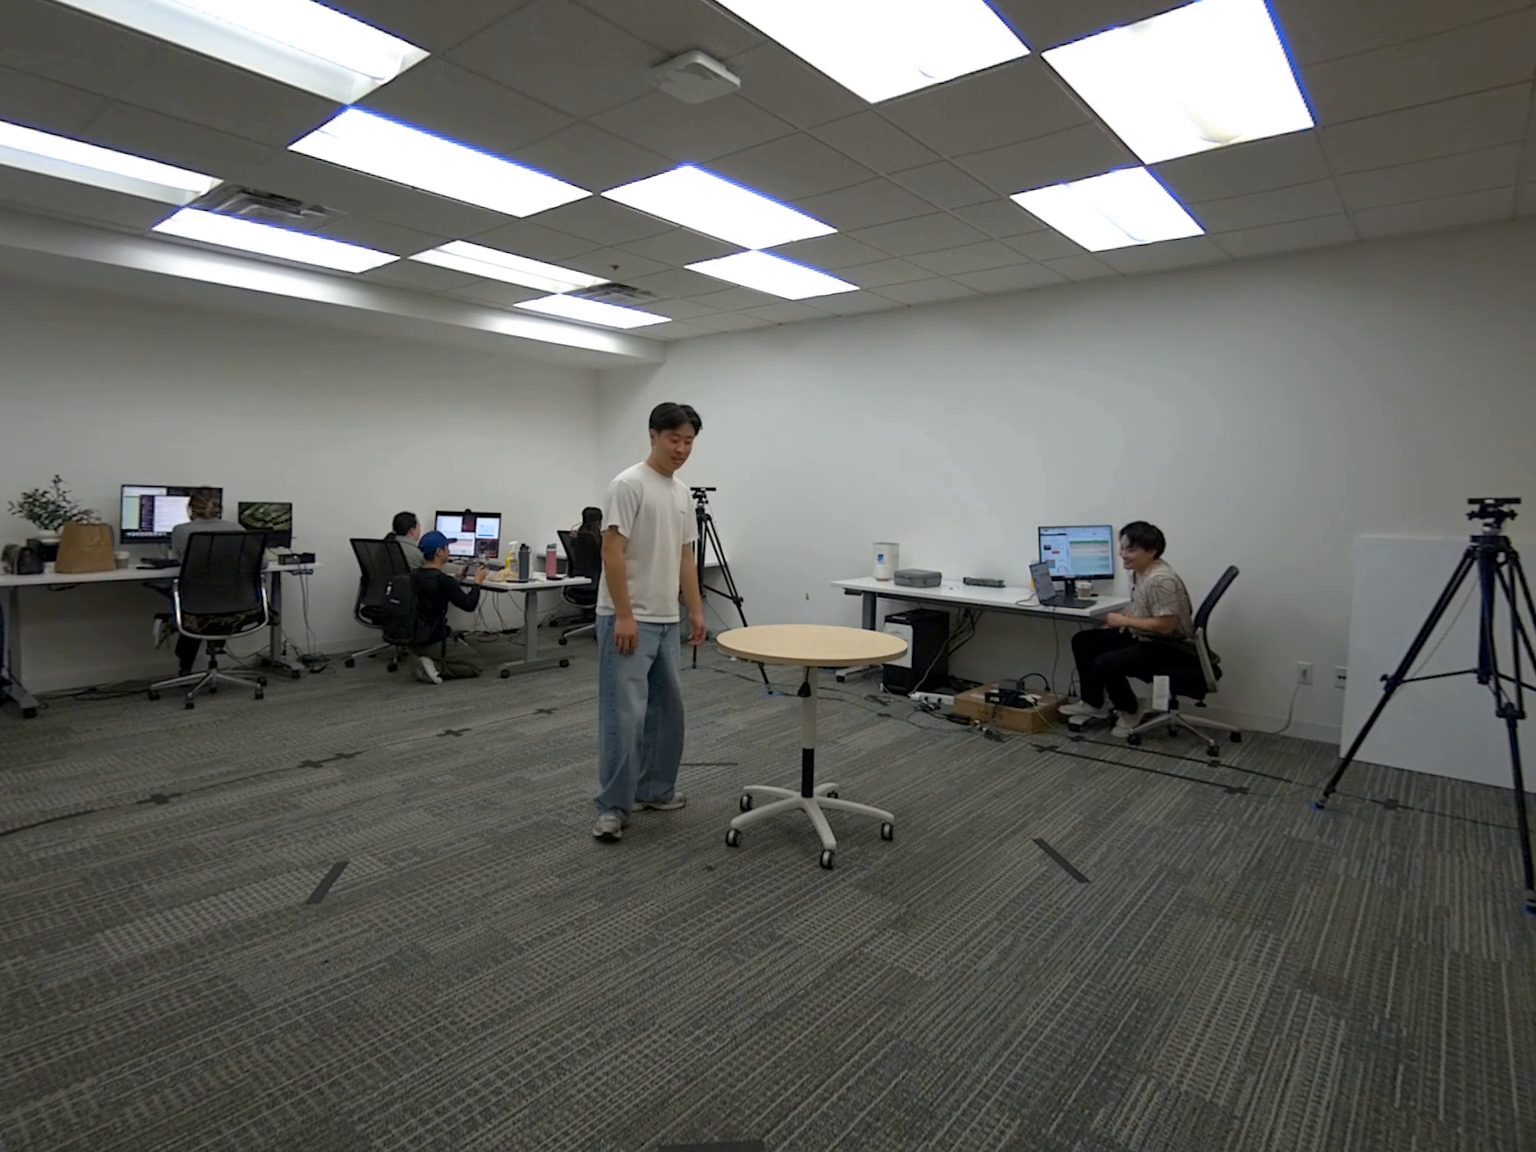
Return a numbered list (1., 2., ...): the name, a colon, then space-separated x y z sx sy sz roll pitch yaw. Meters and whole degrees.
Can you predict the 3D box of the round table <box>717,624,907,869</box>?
1. round table: 0.150 0.649 3.463 0.763 0.791 0.768 1 4 -2
